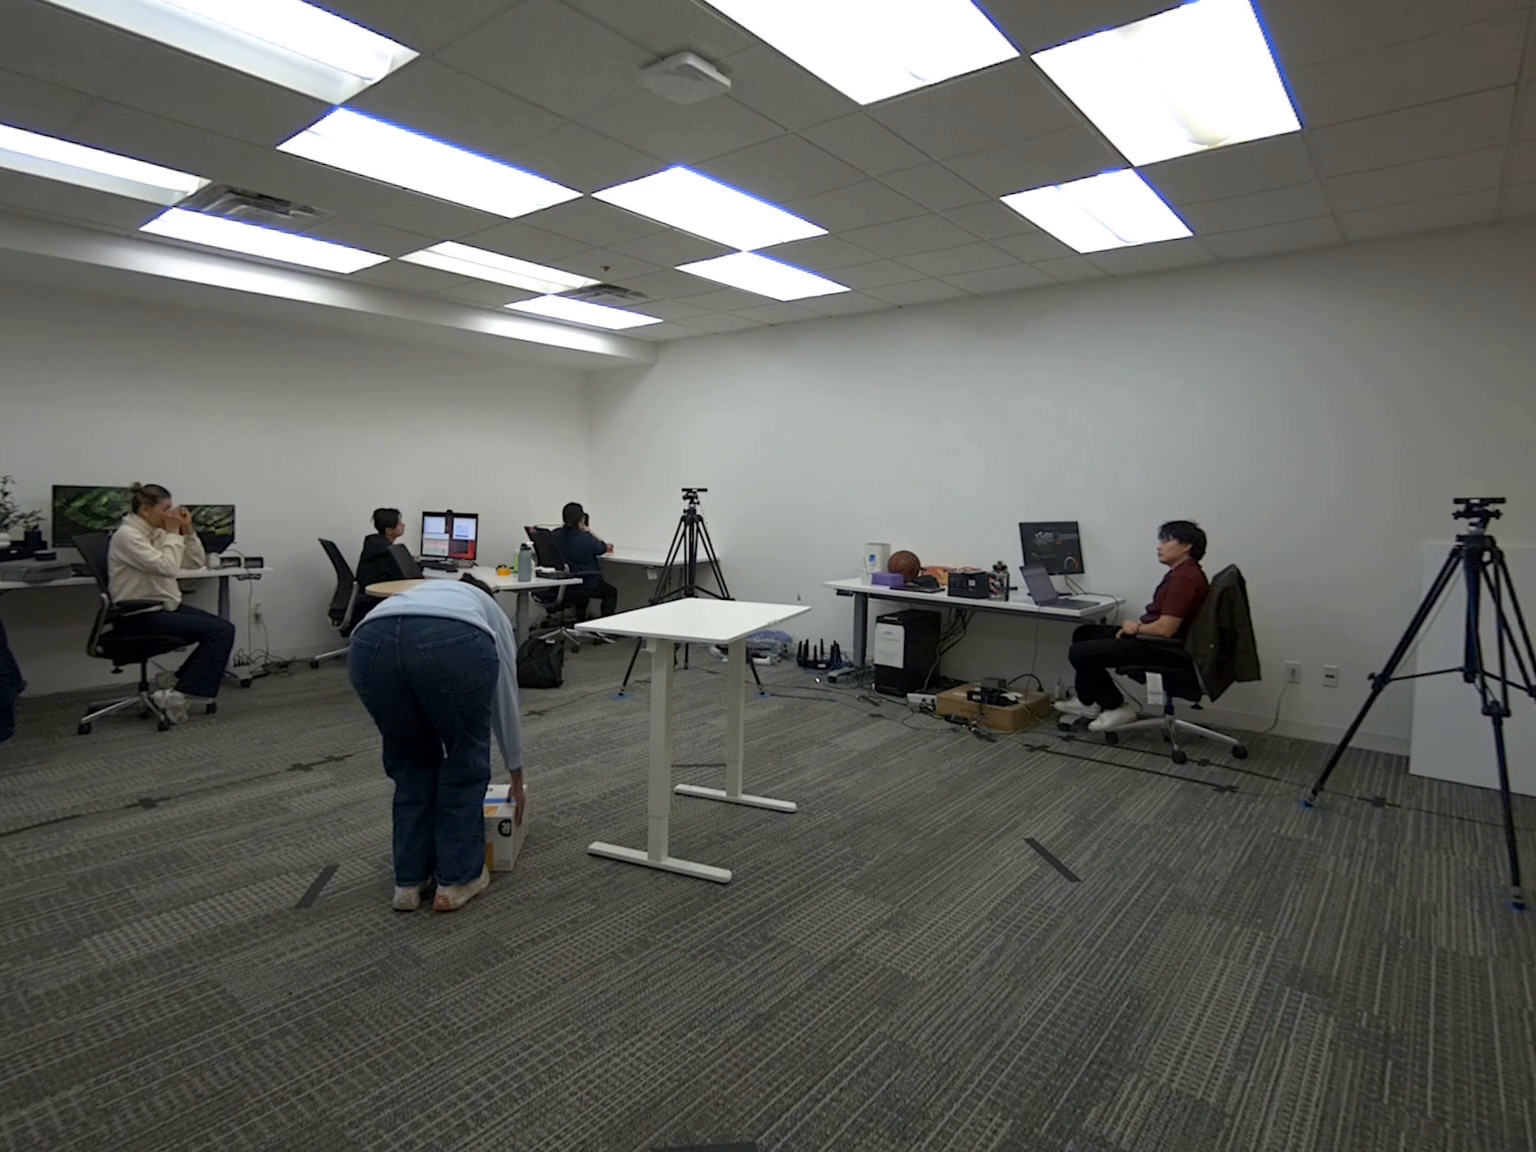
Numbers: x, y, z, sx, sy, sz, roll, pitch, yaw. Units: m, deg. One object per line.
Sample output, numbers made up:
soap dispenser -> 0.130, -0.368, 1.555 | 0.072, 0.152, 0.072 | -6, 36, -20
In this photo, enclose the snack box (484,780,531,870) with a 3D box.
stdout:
snack box -> -1.142, 0.941, 3.202 | 0.403, 0.205, 0.343 | 0, 5, -4
